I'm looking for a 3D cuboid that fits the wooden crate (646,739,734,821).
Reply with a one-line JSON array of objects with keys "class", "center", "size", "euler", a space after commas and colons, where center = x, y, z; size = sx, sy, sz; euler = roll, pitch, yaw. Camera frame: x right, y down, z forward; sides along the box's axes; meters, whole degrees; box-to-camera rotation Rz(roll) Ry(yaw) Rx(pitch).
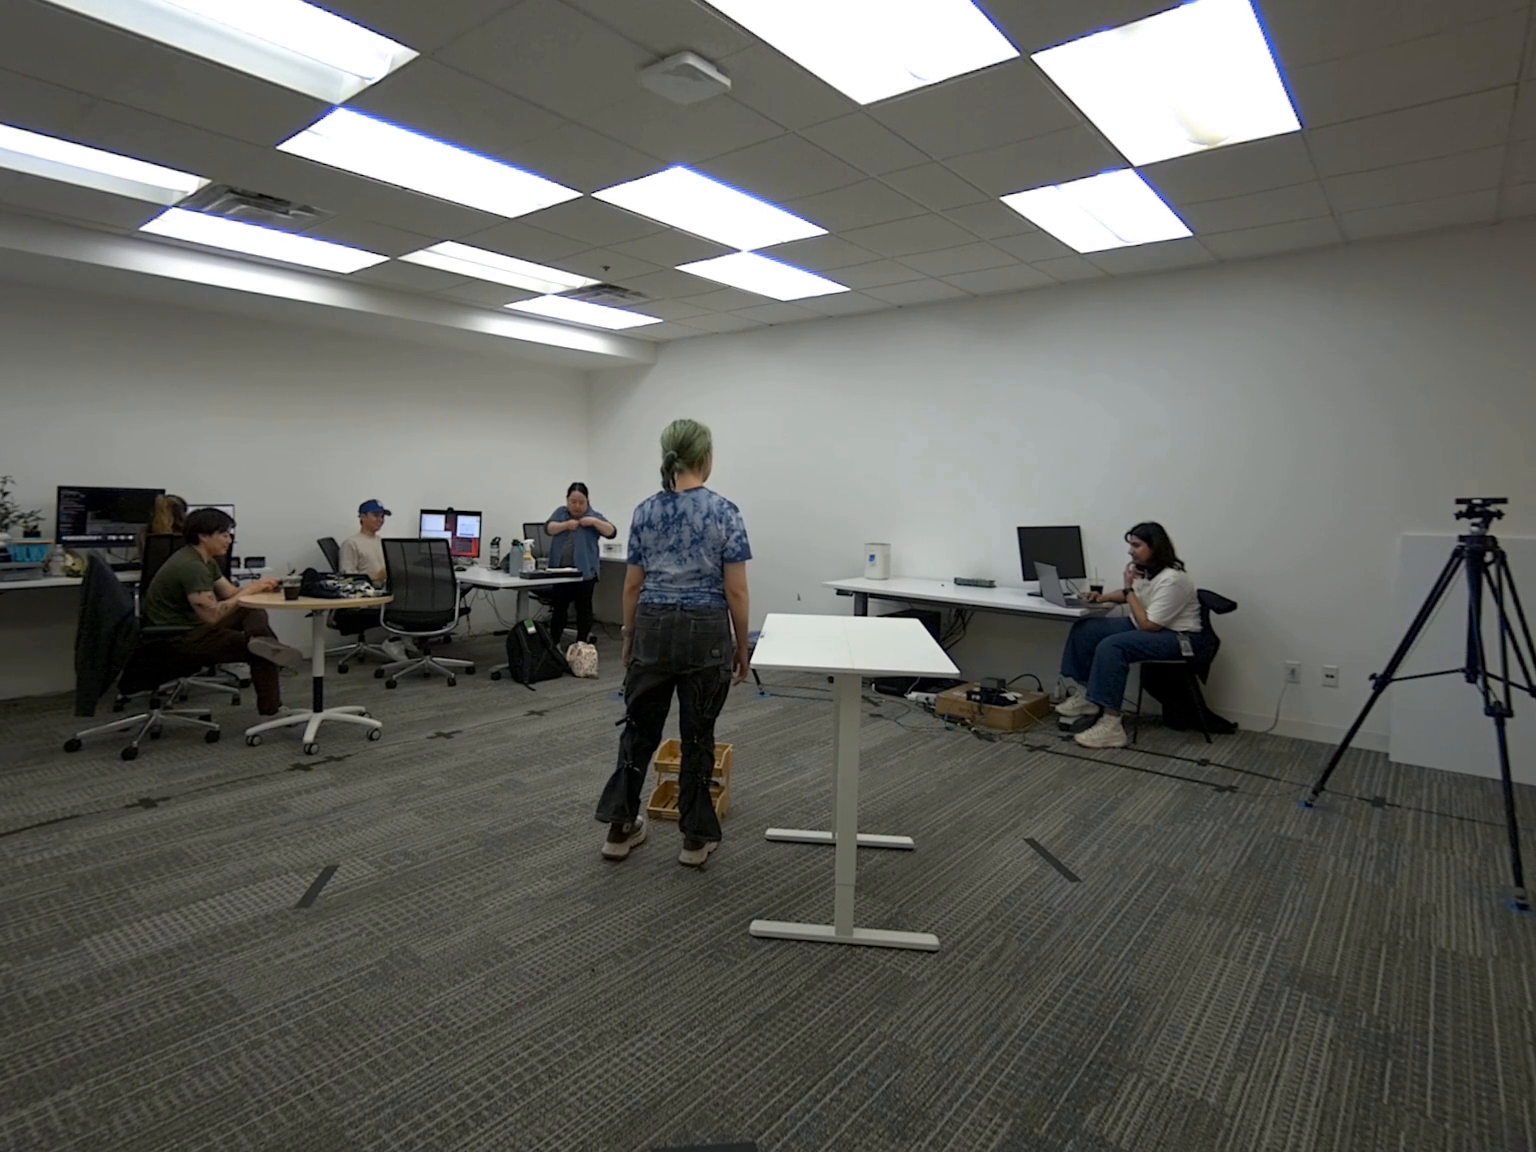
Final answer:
[{"class": "wooden crate", "center": [-0.342, 0.879, 3.672], "size": [0.329, 0.272, 0.299], "euler": [1, 4, 13]}]
